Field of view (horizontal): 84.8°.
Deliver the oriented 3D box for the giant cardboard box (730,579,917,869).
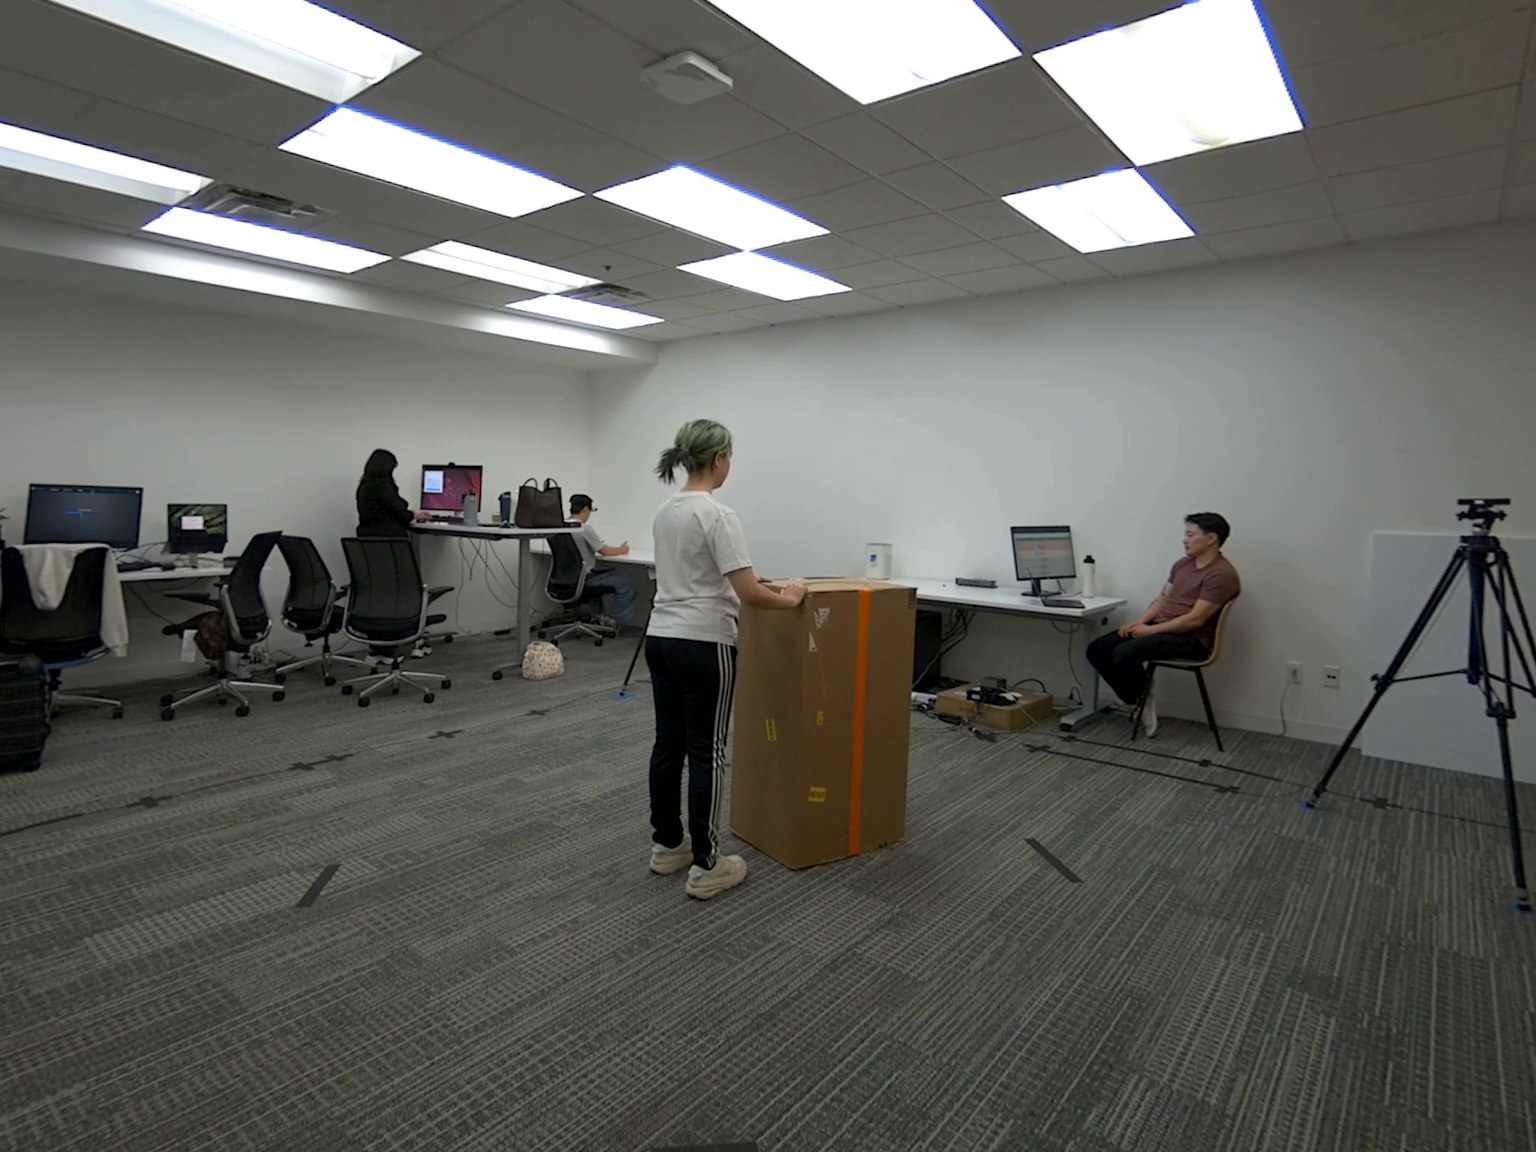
[{"bbox_3d":[0.213,0.539,3.416,0.566,1.025,0.461,0,3,-36],"label":"giant cardboard box"}]
